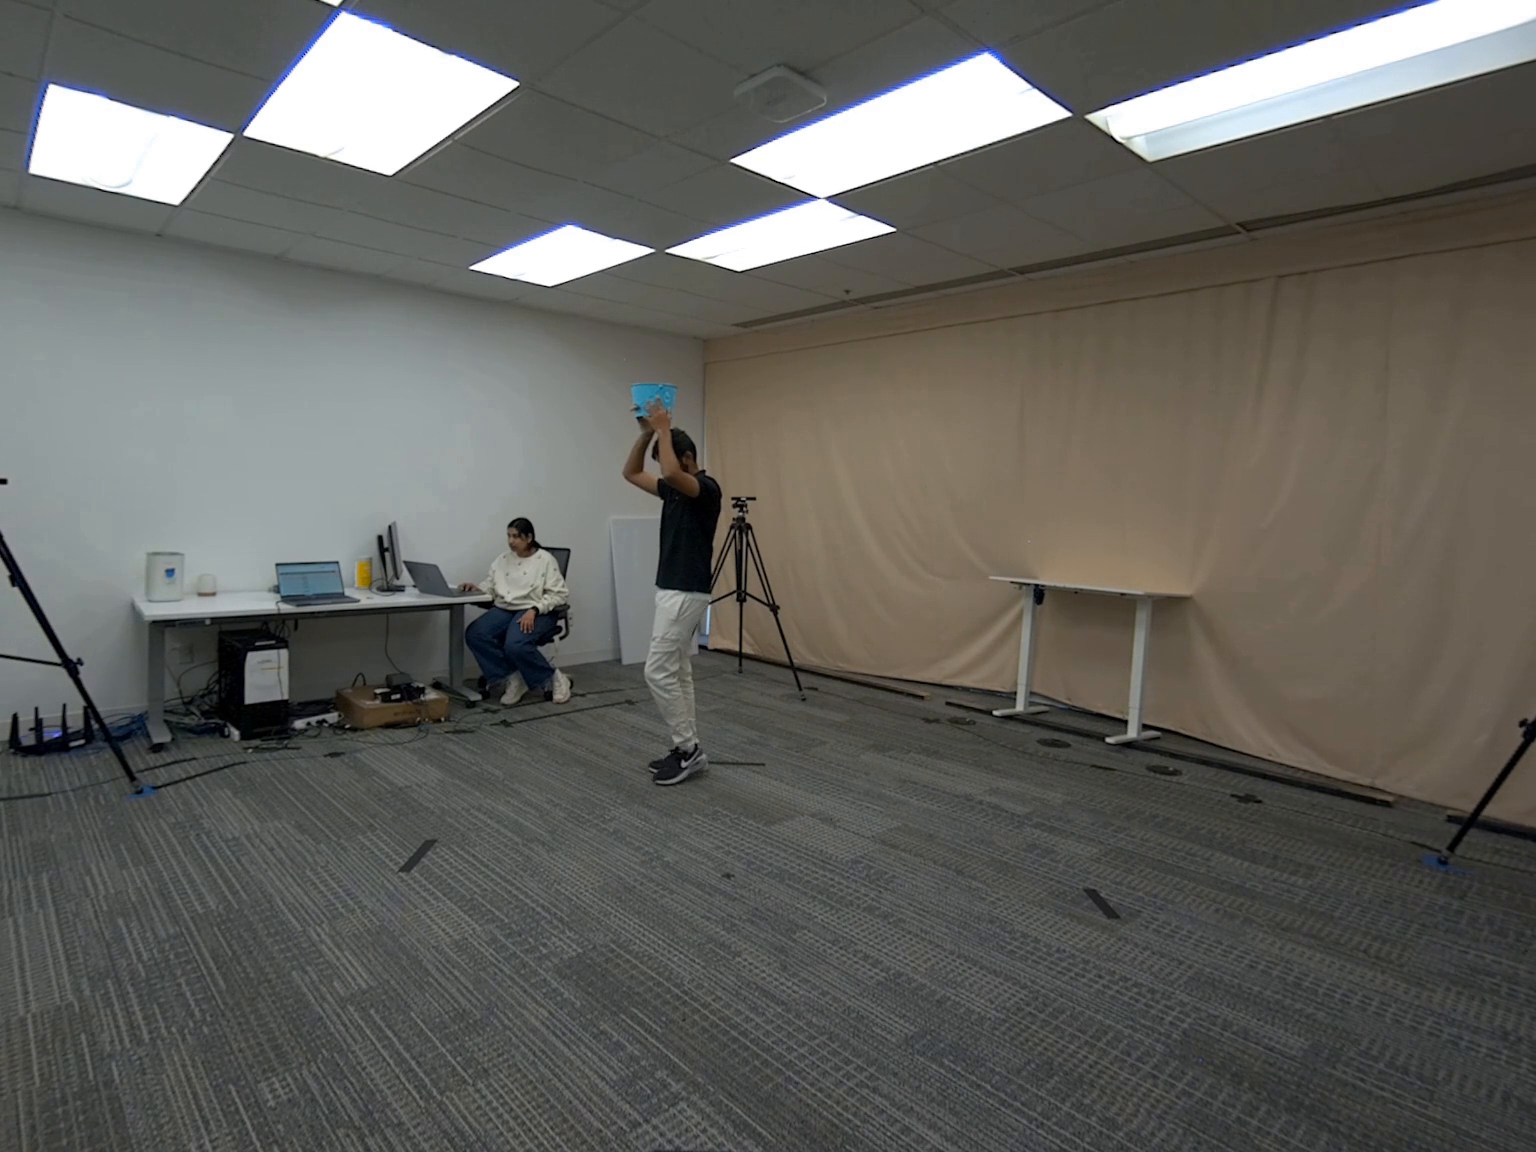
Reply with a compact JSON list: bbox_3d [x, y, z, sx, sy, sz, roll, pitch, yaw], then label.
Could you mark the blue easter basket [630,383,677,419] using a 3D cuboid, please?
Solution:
[{"bbox_3d":[-0.572,-0.858,4.141,0.243,0.155,0.244,4,3,-2],"label":"blue easter basket"}]
